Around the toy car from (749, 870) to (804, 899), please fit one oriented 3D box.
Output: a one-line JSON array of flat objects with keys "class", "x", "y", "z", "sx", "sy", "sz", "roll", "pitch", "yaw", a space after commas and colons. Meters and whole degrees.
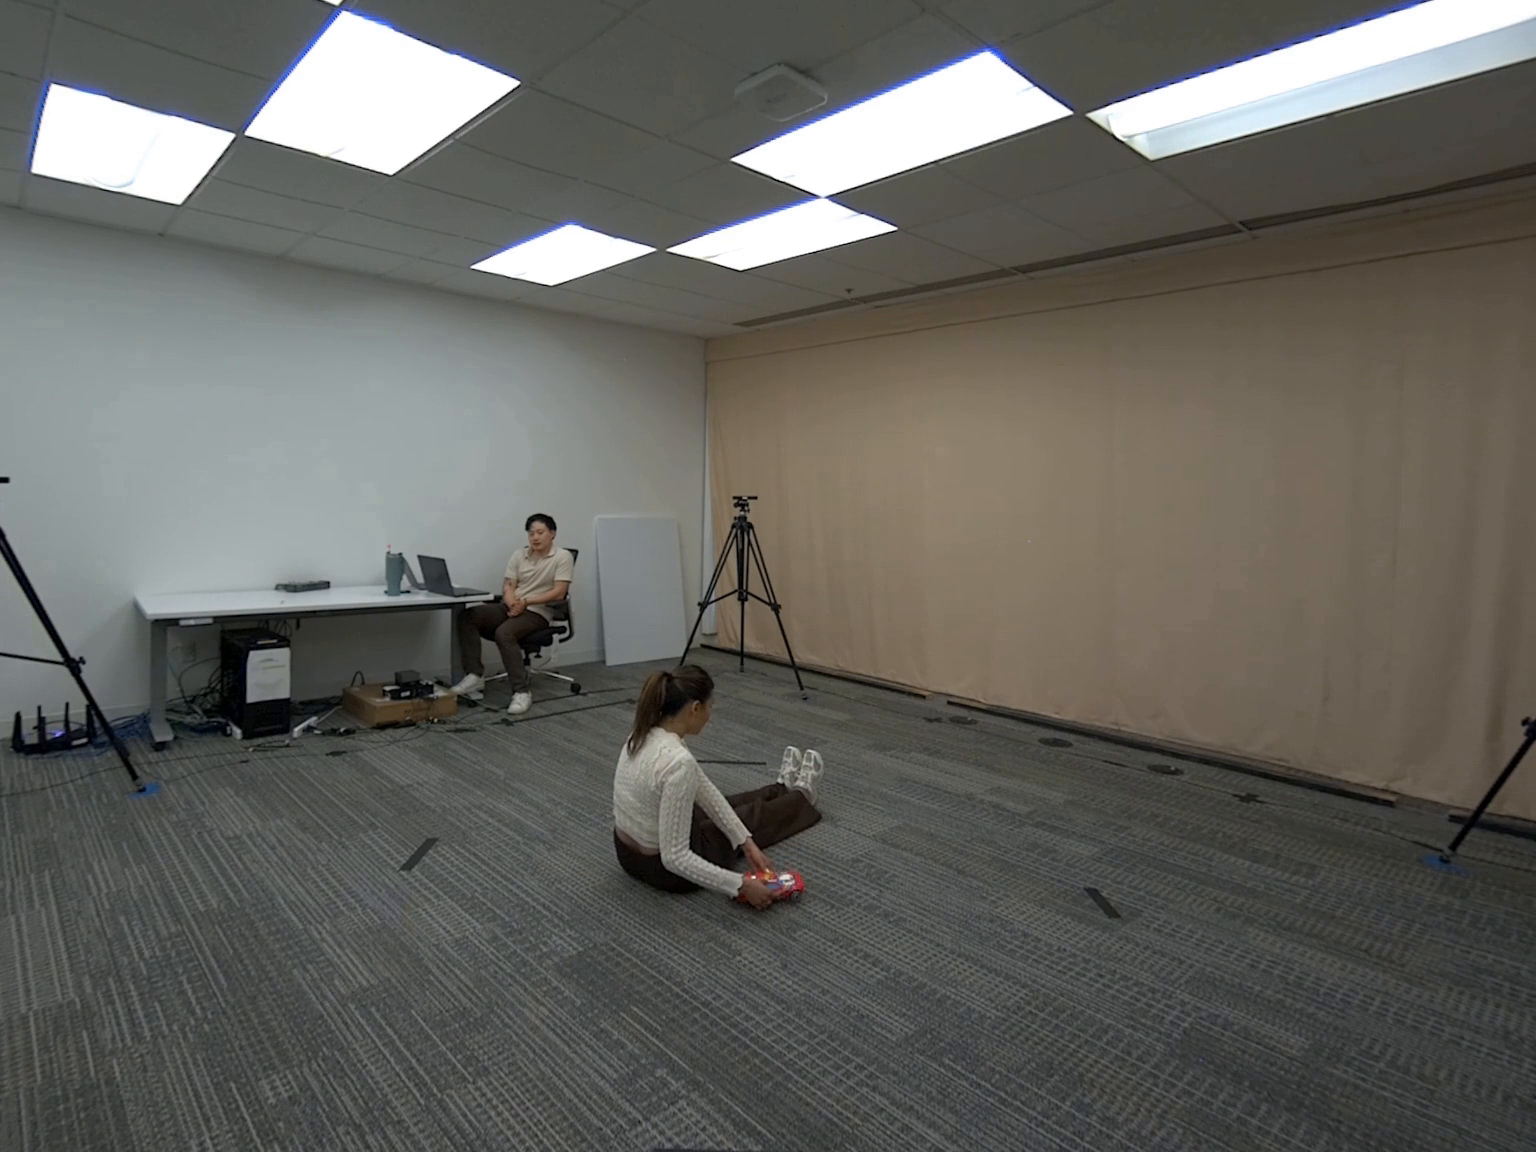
[{"class": "toy car", "x": -0.013, "y": 1.077, "z": 2.906, "sx": 0.251, "sy": 0.082, "sz": 0.133, "roll": 4, "pitch": 12, "yaw": -14}]
